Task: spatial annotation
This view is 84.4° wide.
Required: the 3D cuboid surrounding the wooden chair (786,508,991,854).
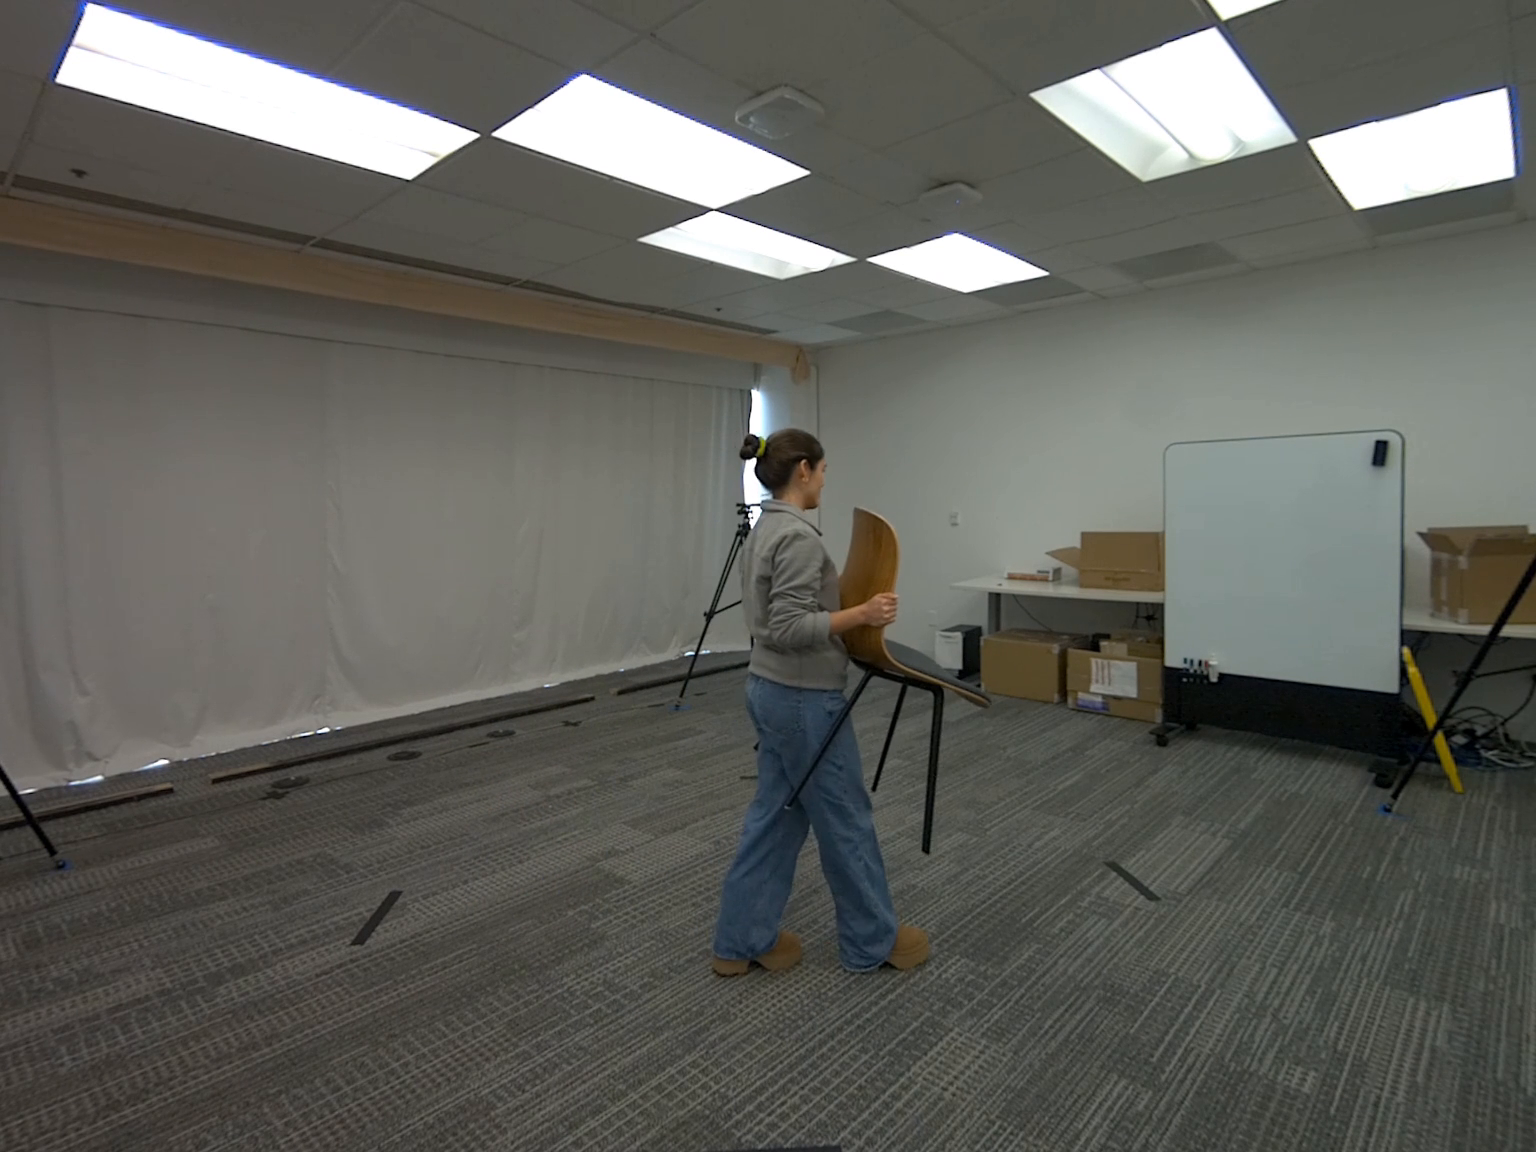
[{"bbox_3d":[0.380,0.288,2.556,0.515,0.876,0.486,17,3,-14],"label":"wooden chair"}]
